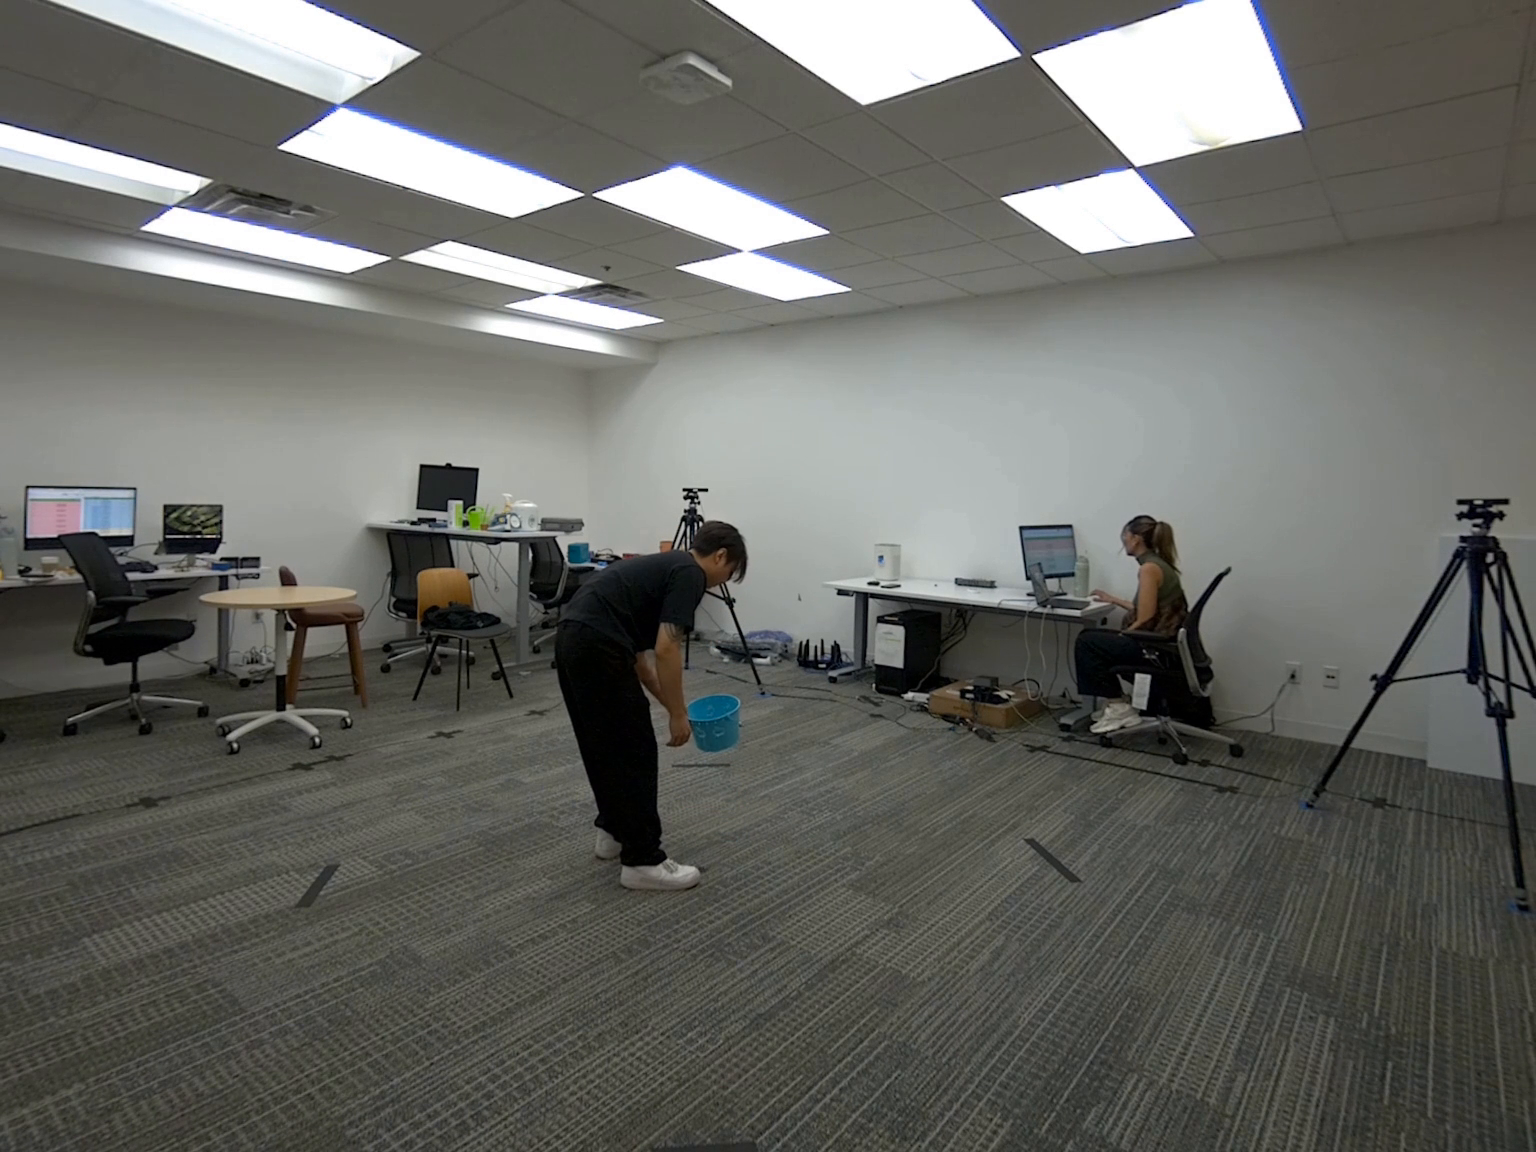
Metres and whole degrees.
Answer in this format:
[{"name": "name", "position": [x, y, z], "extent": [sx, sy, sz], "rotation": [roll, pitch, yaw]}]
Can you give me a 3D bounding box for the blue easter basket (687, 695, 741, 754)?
[{"name": "blue easter basket", "position": [-0.218, 0.606, 3.467], "extent": [0.244, 0.153, 0.248], "rotation": [-9, 17, 1]}]
